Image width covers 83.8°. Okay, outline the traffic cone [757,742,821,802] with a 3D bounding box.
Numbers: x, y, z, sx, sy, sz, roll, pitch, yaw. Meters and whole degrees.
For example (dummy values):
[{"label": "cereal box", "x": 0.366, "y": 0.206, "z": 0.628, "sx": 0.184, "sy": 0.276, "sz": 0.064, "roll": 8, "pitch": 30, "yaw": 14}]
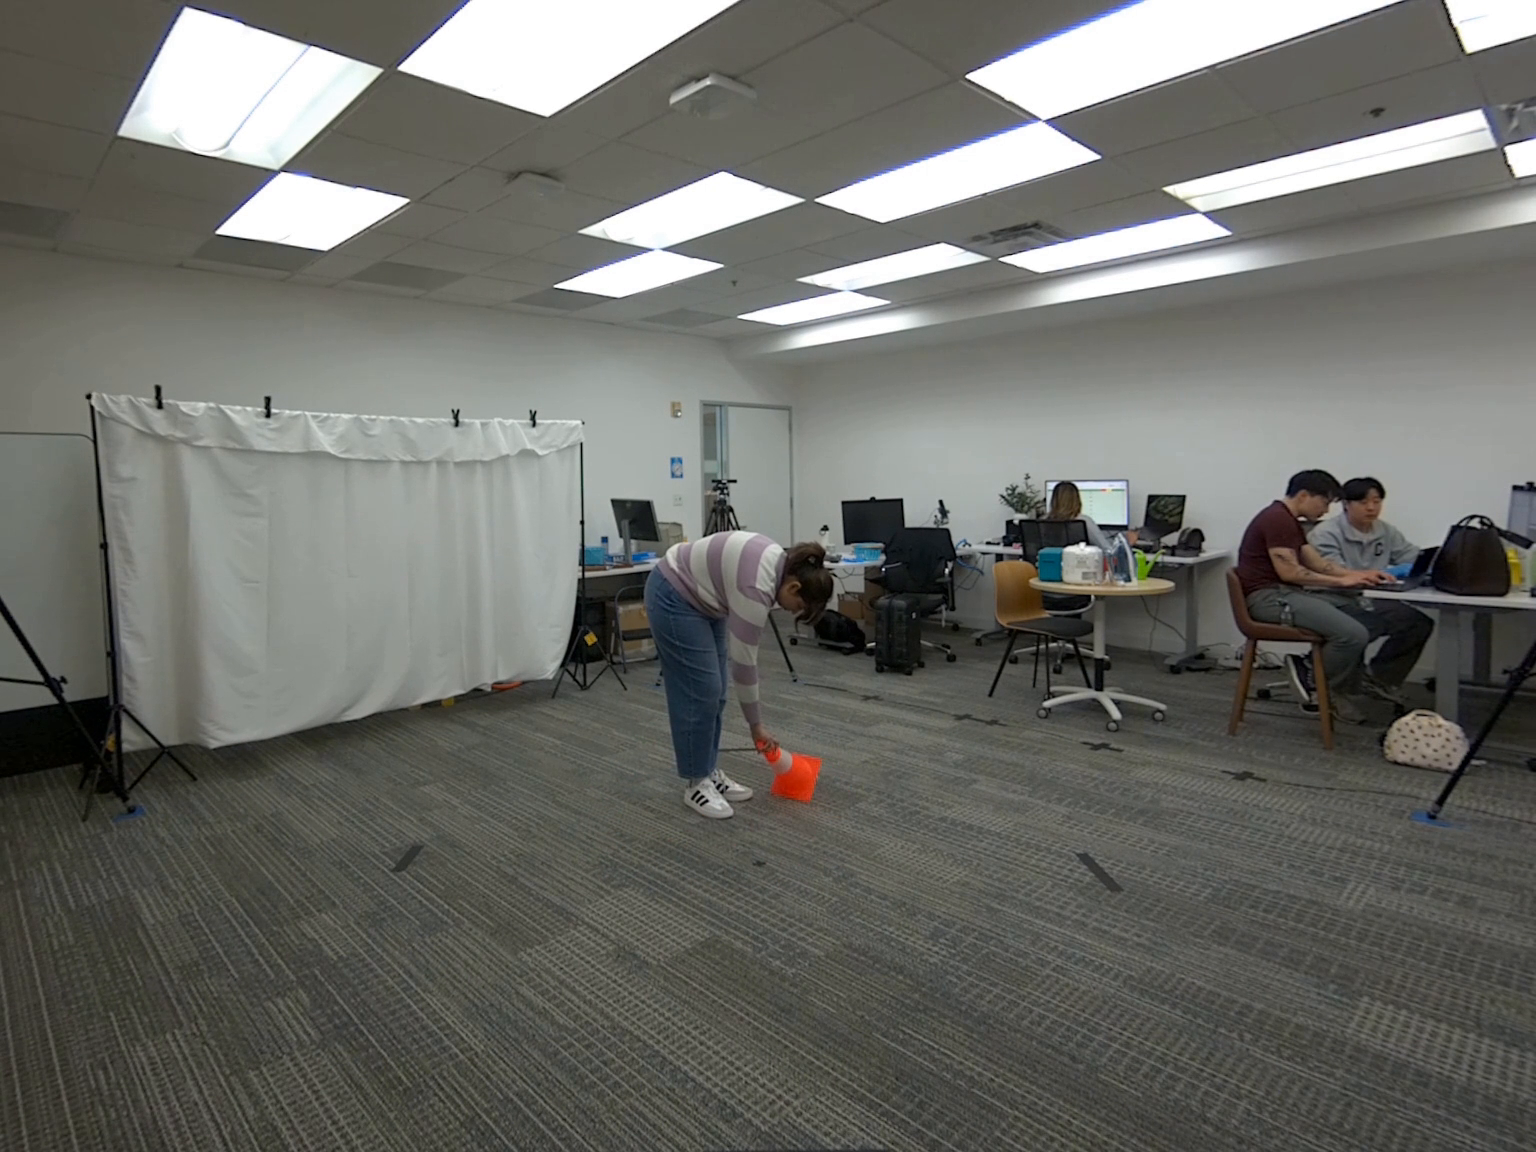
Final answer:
[{"label": "traffic cone", "x": 0.061, "y": 0.781, "z": 3.649, "sx": 0.210, "sy": 0.206, "sz": 0.369, "roll": 16, "pitch": -24, "yaw": 40}]
